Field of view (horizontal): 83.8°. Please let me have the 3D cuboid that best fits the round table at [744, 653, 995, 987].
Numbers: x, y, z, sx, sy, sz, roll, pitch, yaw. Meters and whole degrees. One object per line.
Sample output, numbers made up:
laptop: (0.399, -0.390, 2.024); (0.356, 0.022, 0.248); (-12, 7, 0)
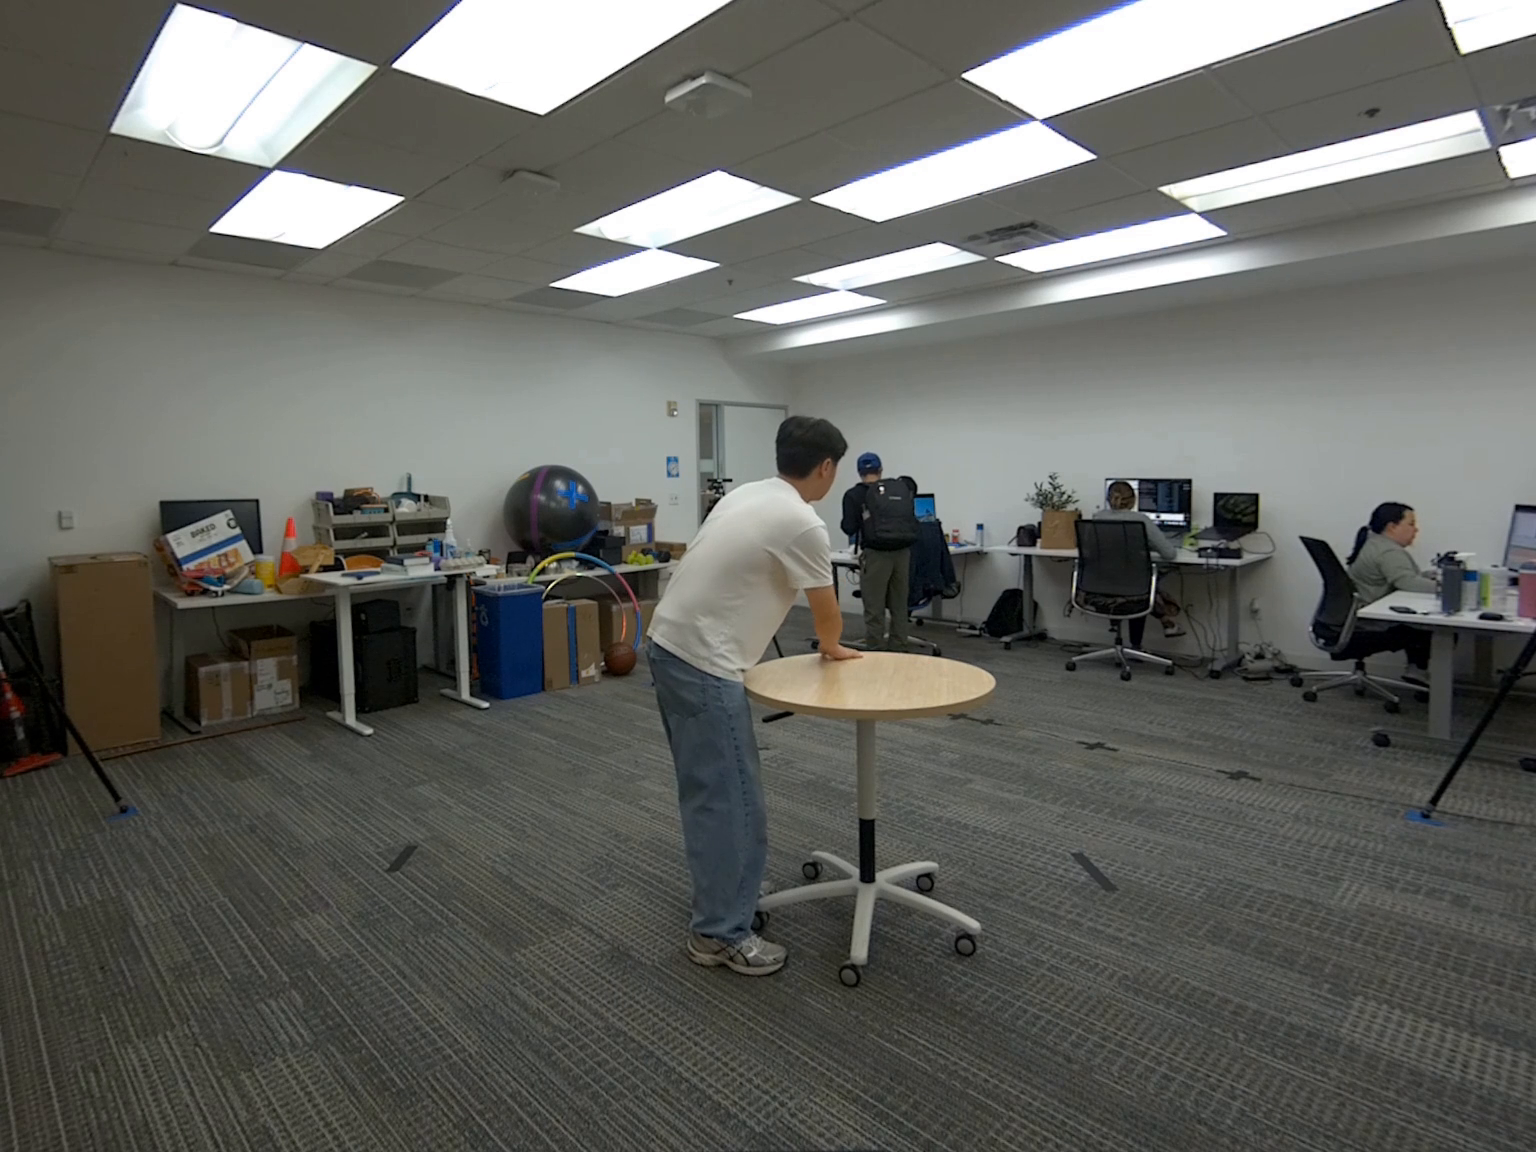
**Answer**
round table: (0.310, 0.697, 2.662); (0.763, 0.791, 0.768); (-1, 5, -2)
